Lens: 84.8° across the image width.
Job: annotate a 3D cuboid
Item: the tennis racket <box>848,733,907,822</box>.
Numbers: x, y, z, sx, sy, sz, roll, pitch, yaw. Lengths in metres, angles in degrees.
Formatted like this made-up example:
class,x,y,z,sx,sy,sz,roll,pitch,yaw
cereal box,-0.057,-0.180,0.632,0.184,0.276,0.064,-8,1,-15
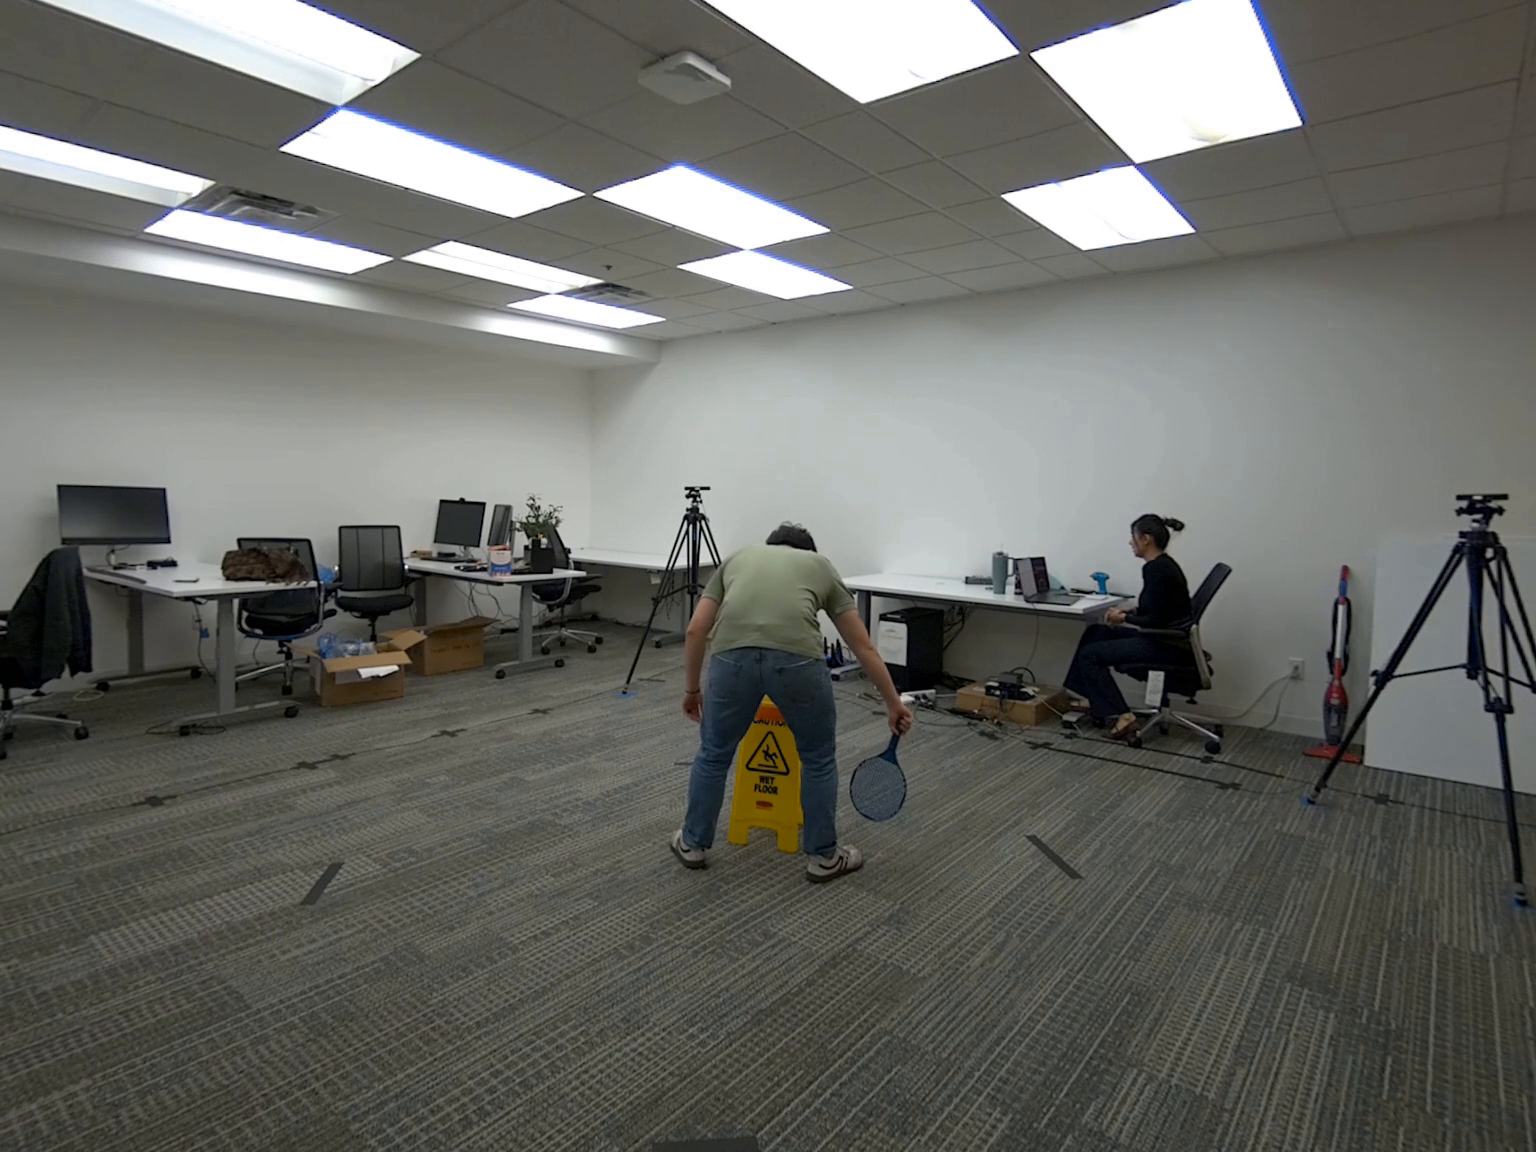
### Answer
class,x,y,z,sx,sy,sz,roll,pitch,yaw
tennis racket,0.425,0.735,3.223,0.219,0.428,0.031,17,15,20
